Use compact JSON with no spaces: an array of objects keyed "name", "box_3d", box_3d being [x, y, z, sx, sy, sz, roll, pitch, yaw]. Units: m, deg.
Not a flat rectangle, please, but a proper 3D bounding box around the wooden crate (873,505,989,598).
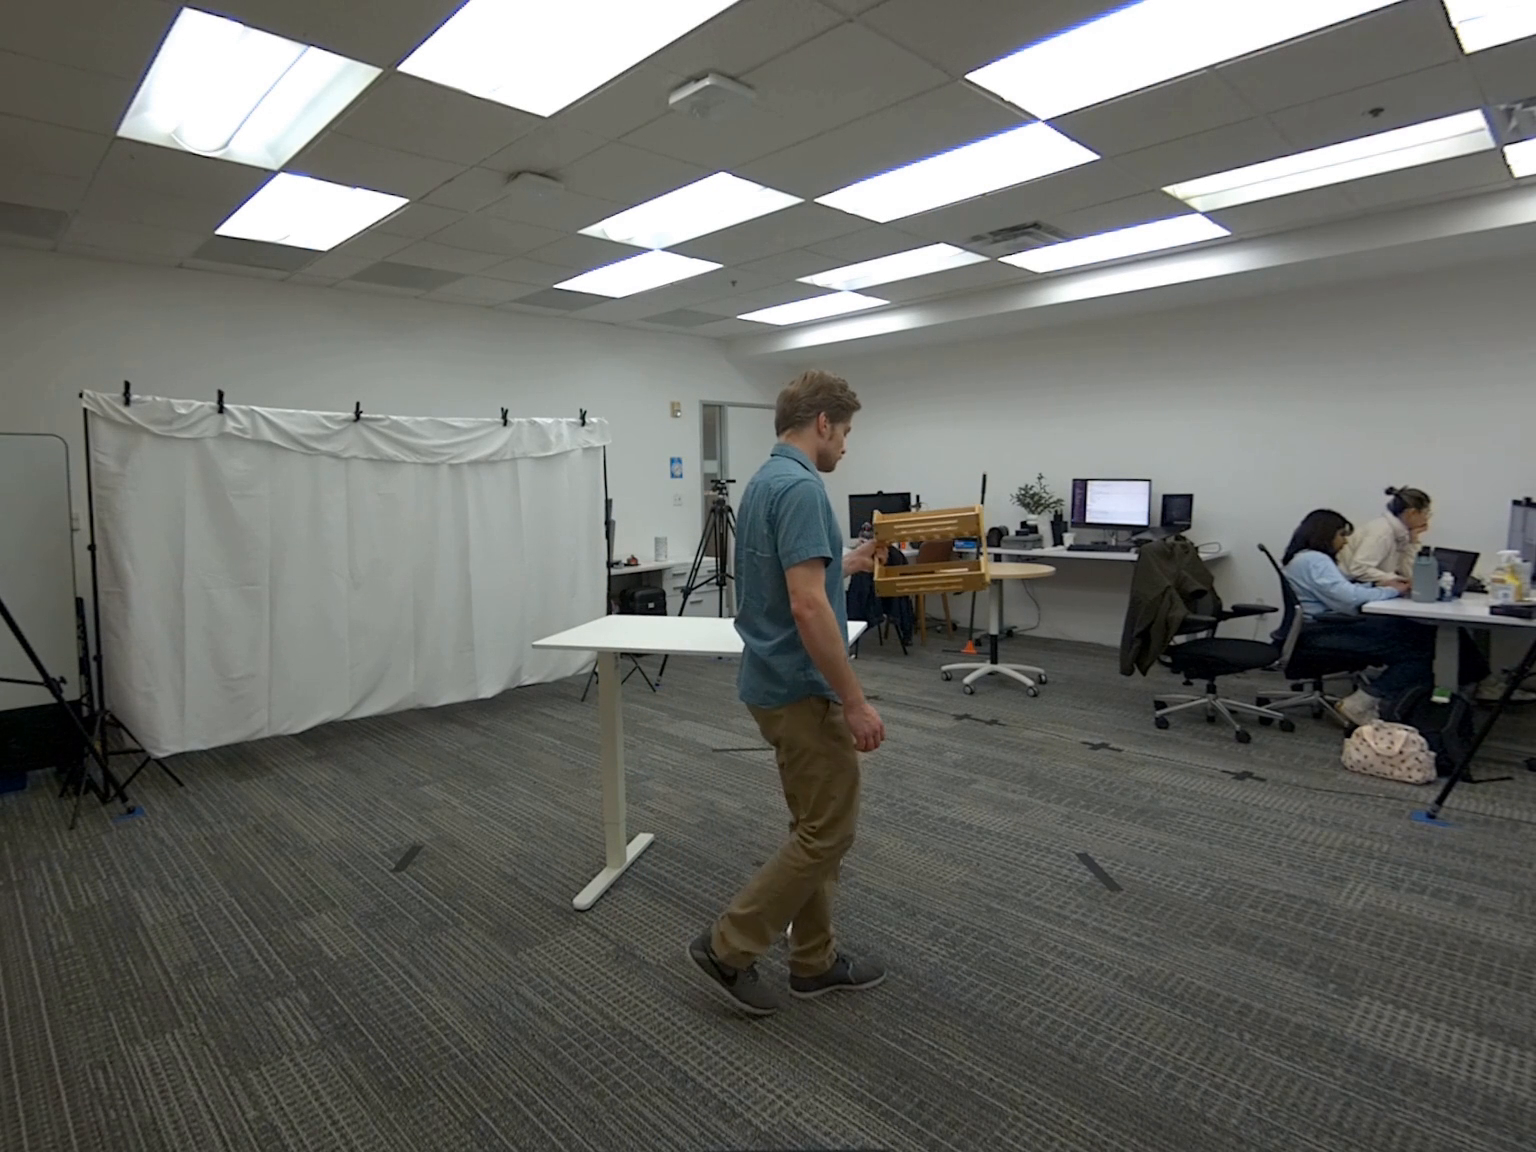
[{"name":"wooden crate","box_3d":[0.478,-0.081,2.508,0.329,0.275,0.296,-5,-5,16]}]
